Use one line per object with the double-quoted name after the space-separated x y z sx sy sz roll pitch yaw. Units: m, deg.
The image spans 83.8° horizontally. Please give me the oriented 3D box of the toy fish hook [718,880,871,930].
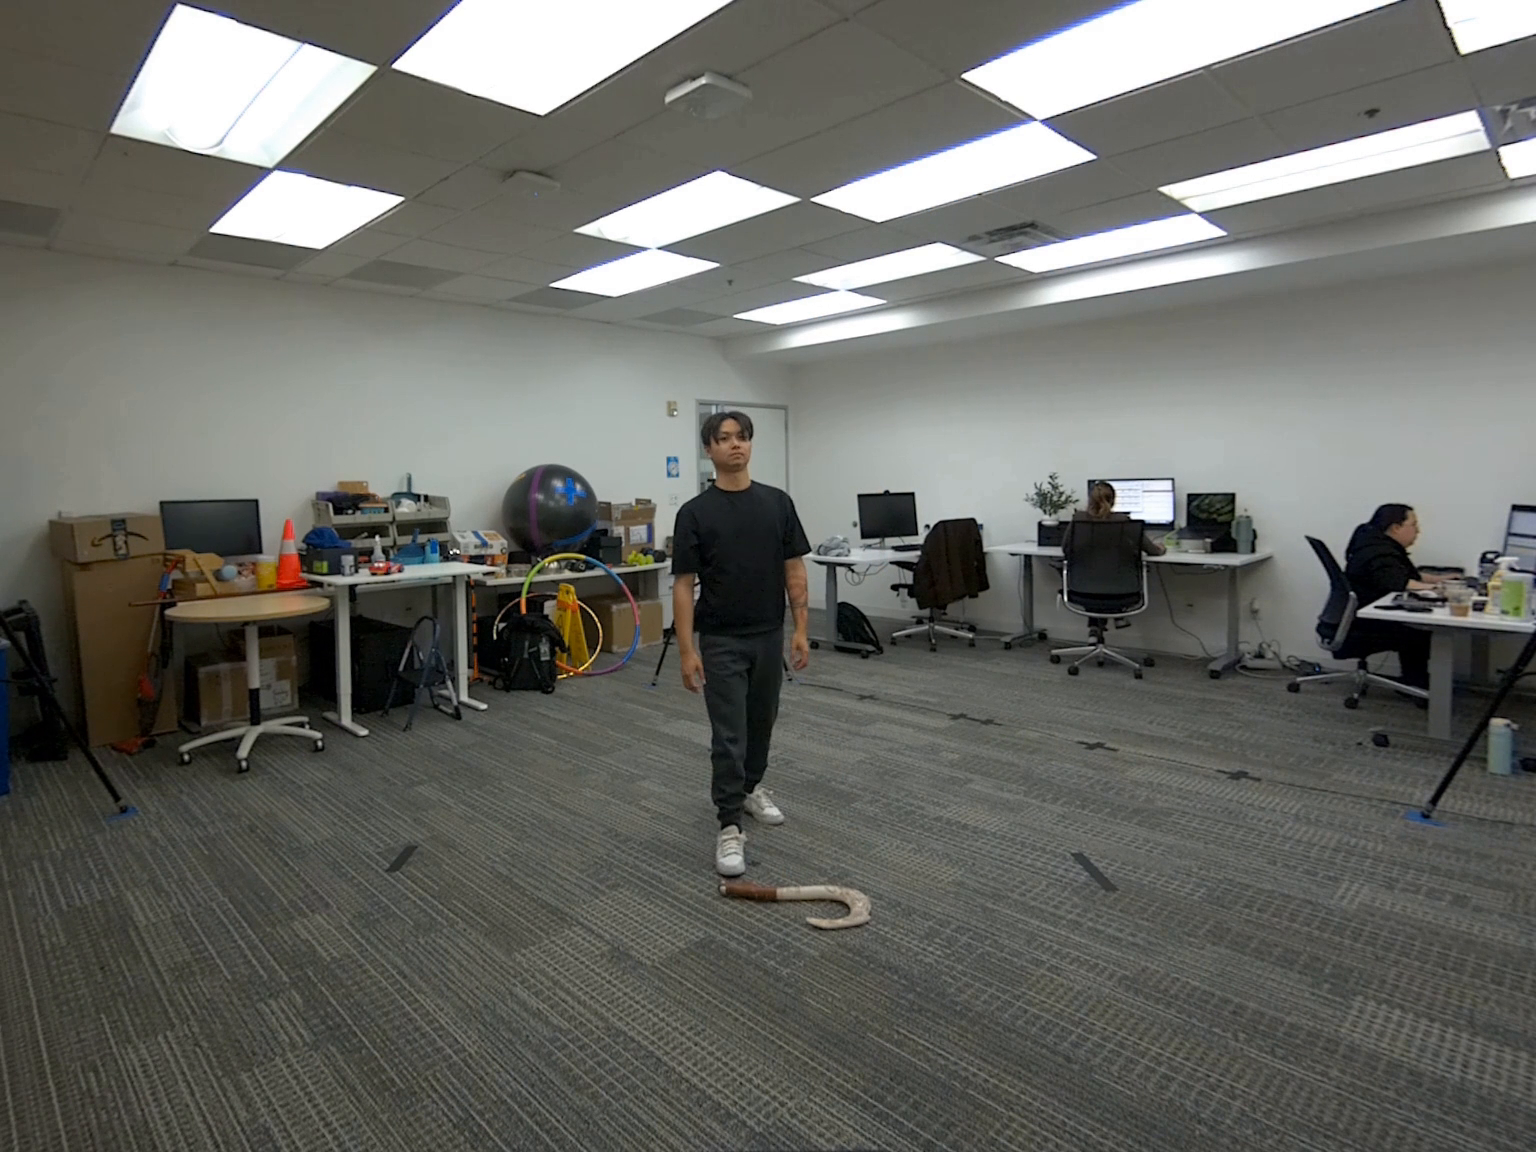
0.080 1.058 2.770 0.512 0.048 0.223 0 5 12 "toy fish hook"
